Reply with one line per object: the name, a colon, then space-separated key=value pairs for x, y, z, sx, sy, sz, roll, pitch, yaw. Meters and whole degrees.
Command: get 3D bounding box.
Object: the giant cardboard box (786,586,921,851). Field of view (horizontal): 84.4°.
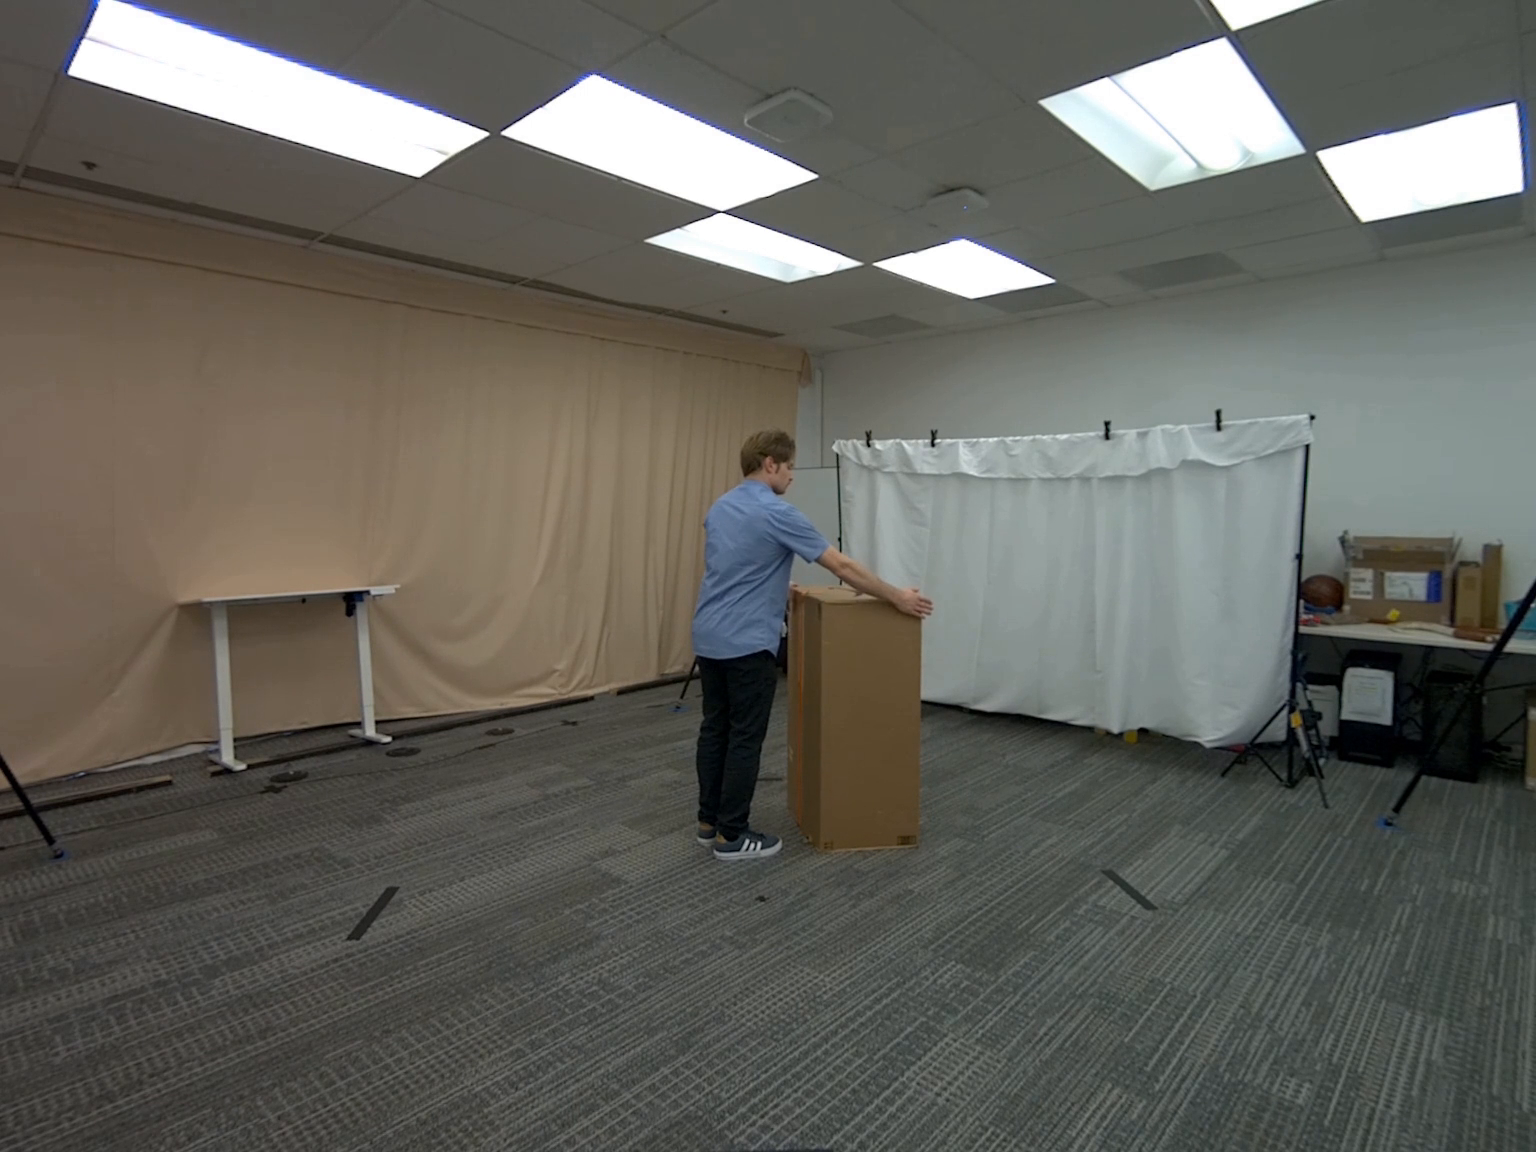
giant cardboard box: x=0.356 y=0.578 z=3.654 sx=0.422 sy=1.023 sz=0.585 roll=0 pitch=4 yaw=-10
